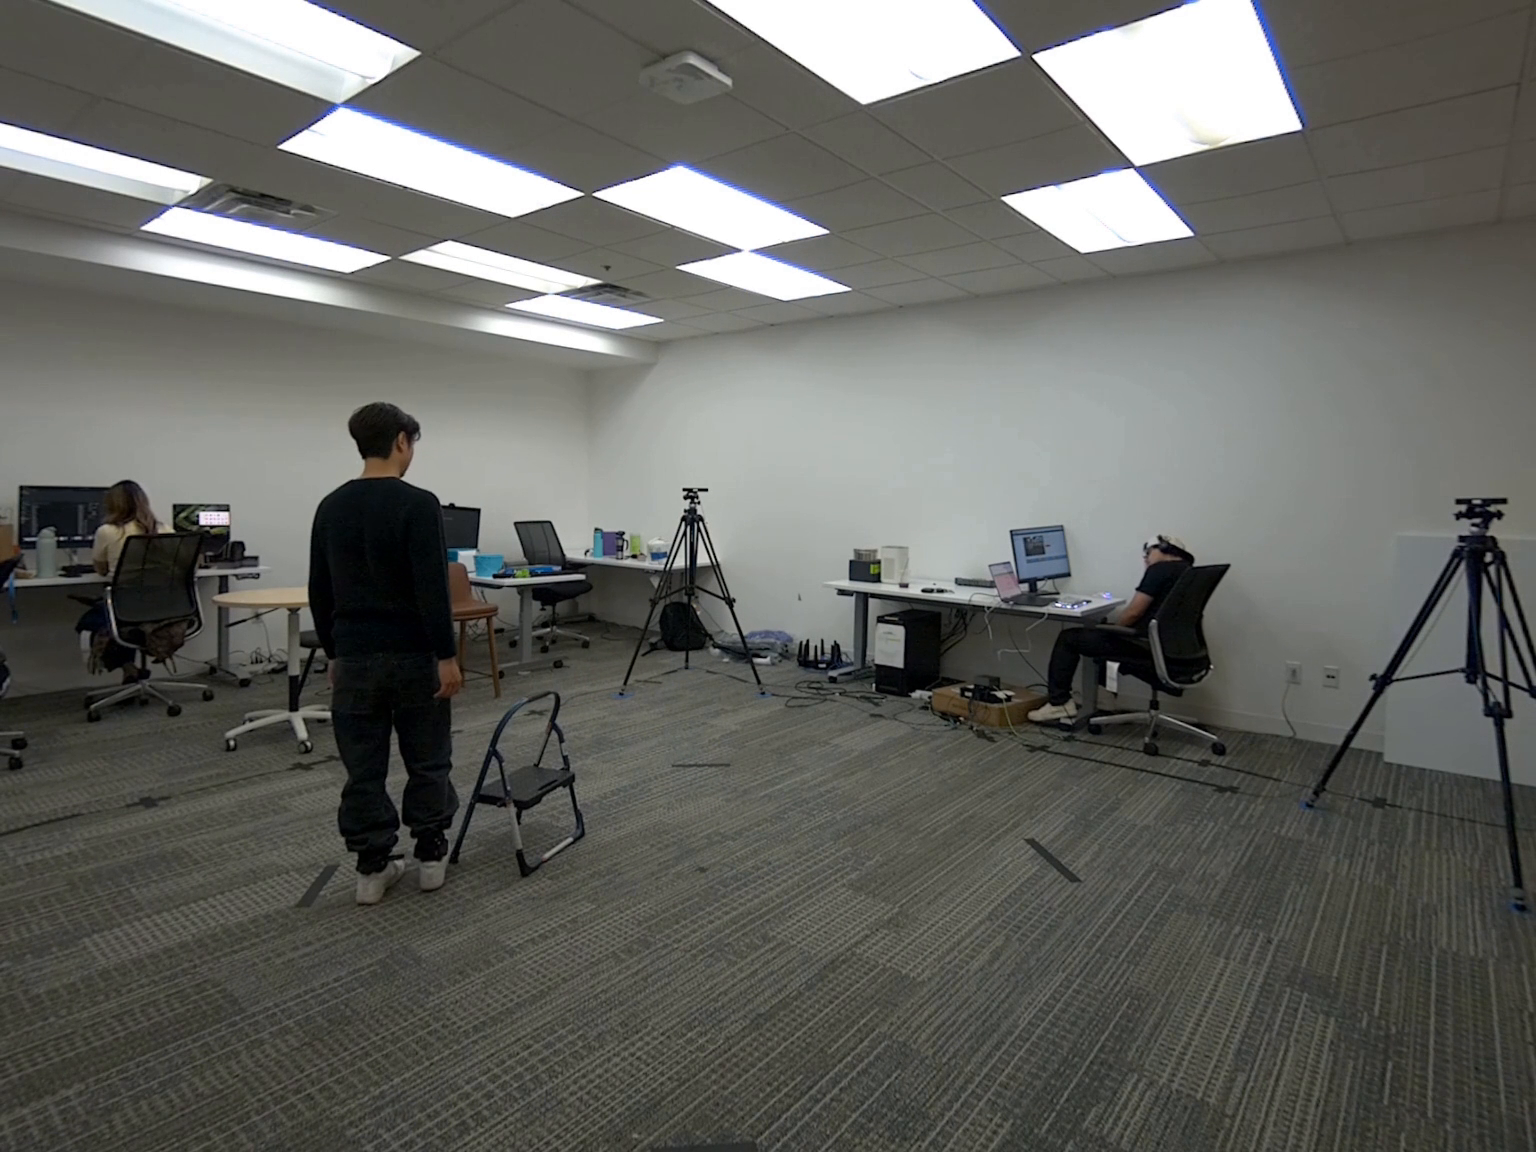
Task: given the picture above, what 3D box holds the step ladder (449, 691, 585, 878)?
[{"bbox_3d":[-0.962,0.740,3.253,0.357,0.604,0.423,1,4,19],"label":"step ladder"}]
